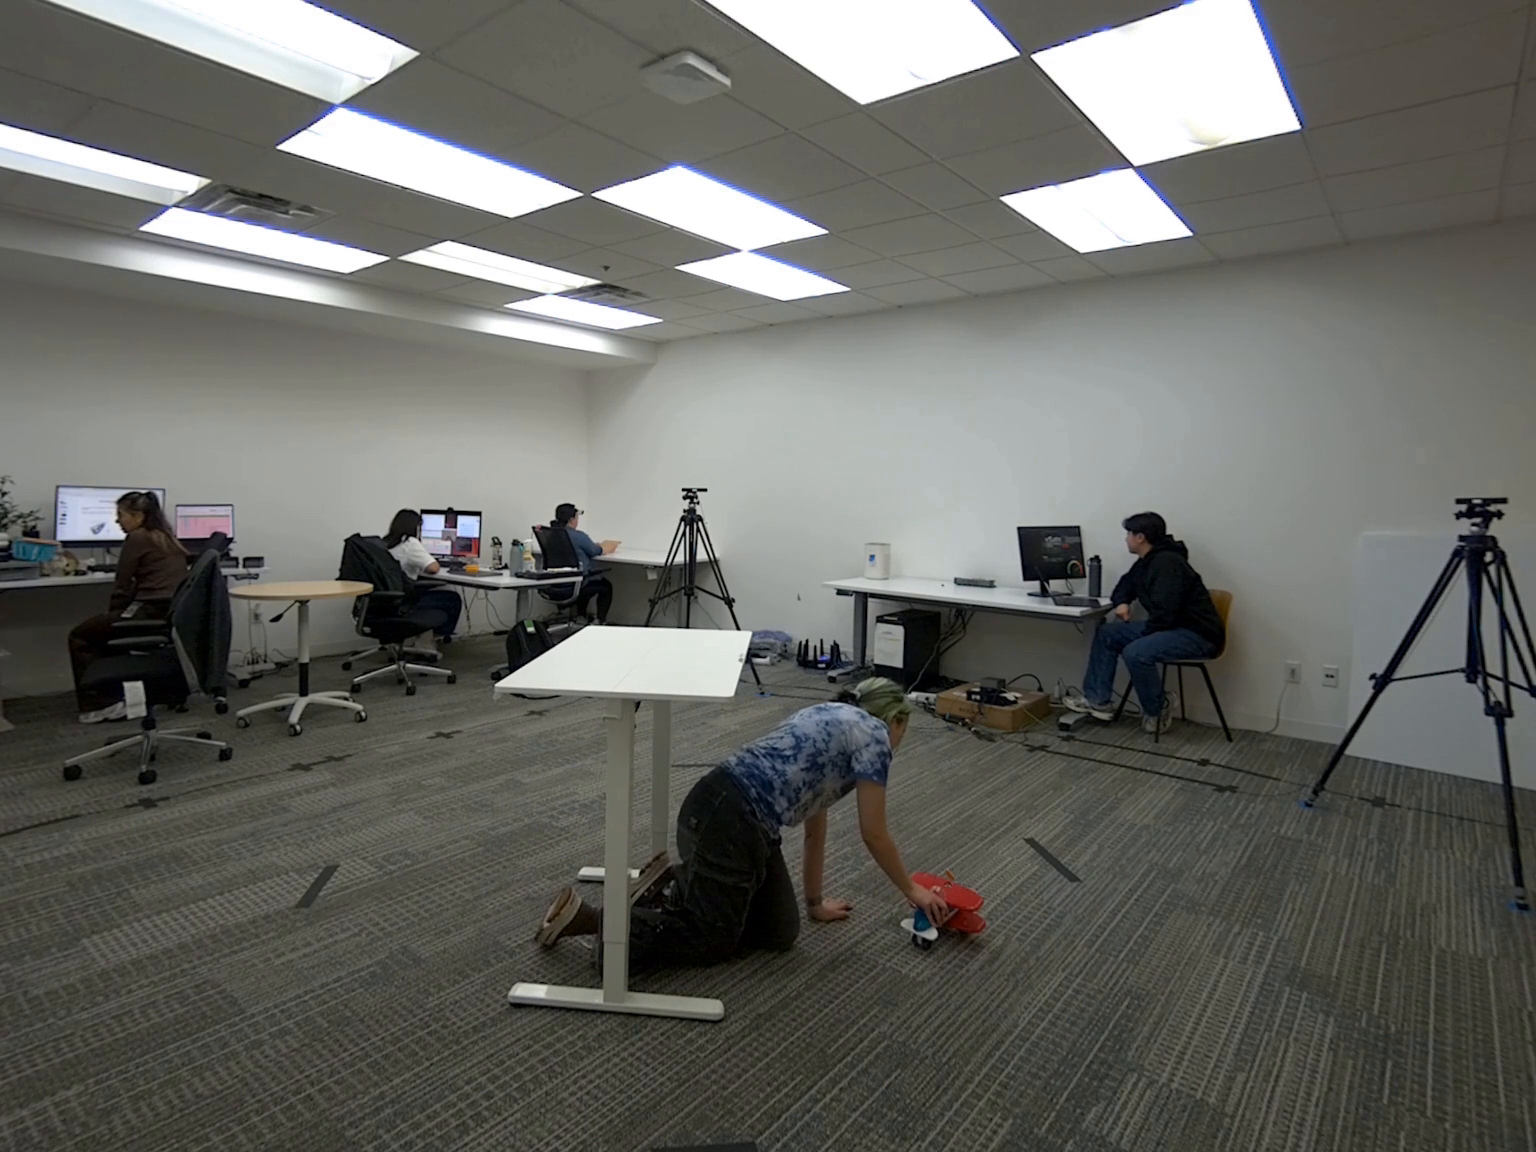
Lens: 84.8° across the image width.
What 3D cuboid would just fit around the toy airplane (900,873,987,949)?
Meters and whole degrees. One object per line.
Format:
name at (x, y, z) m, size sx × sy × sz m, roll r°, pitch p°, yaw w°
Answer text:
toy airplane at (0.540, 1.057, 2.659) m, size 0.256 × 0.156 × 0.254 m, roll 3°, pitch 3°, yaw 18°
